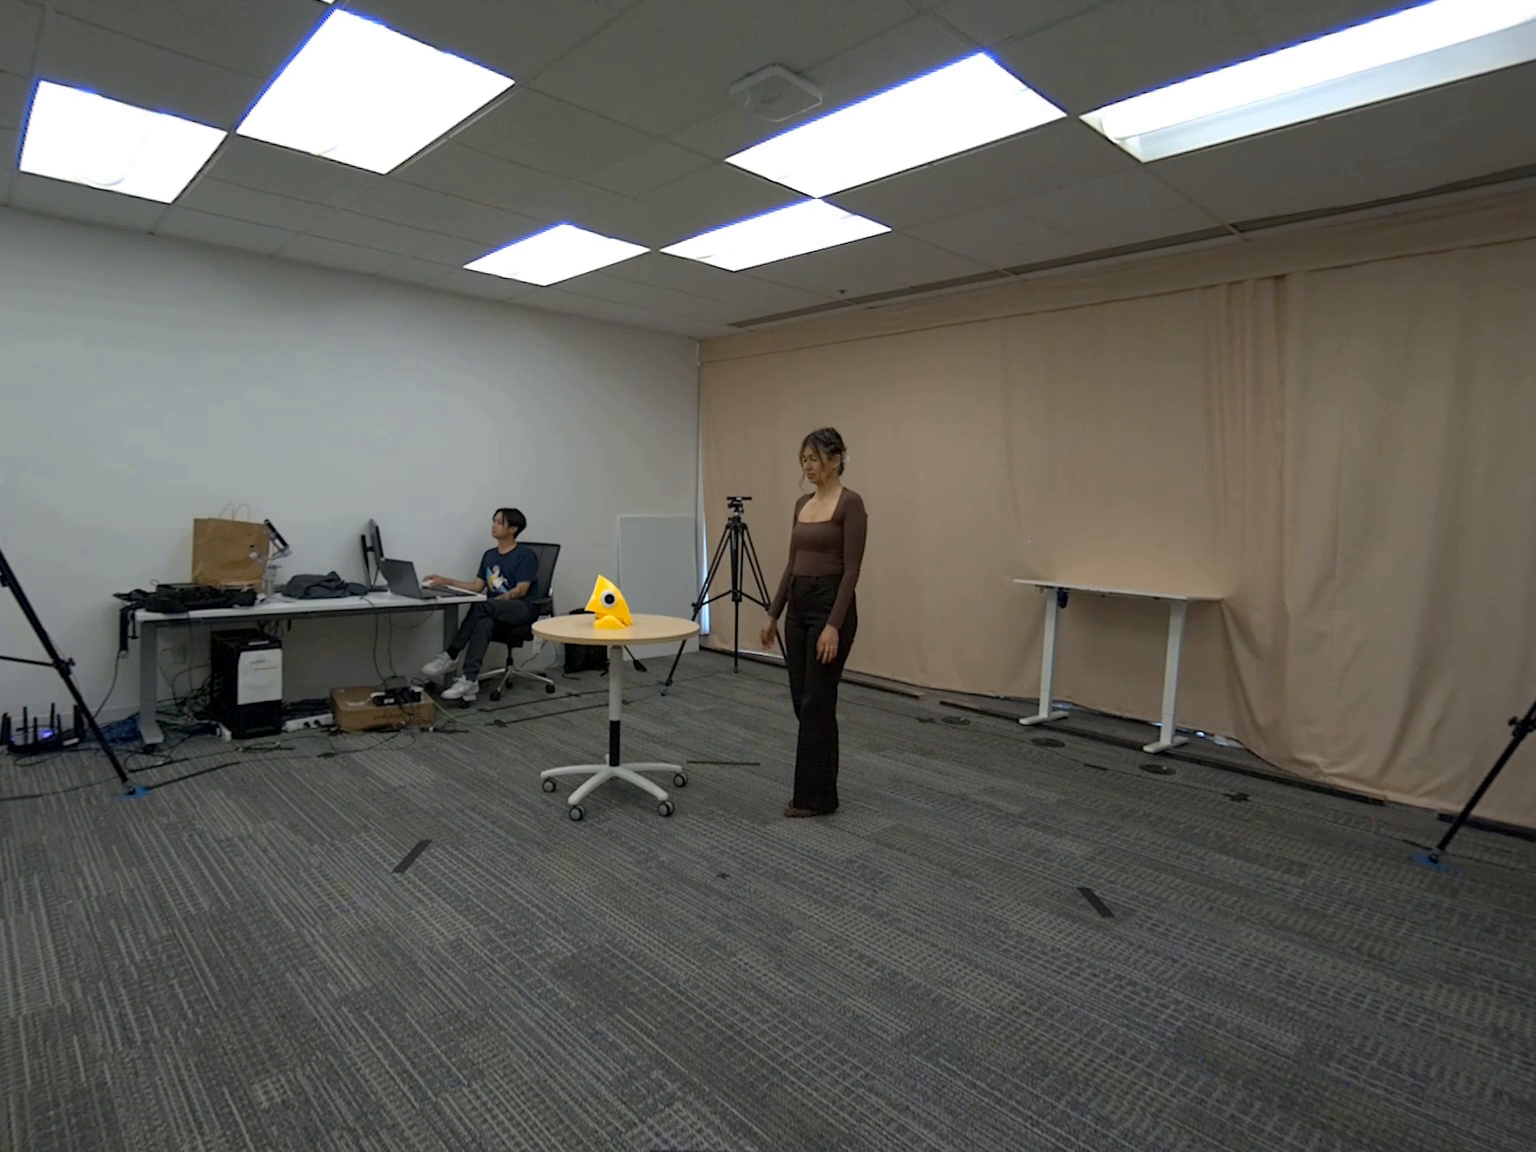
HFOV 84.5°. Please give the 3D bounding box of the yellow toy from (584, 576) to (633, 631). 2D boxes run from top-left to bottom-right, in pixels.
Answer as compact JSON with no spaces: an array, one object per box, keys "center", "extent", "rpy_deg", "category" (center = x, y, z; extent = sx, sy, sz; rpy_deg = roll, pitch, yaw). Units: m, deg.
[{"center":[-0.733,0.113,3.875],"extent":[0.194,0.230,0.204],"rpy_deg":[2,4,7],"category":"yellow toy"}]
